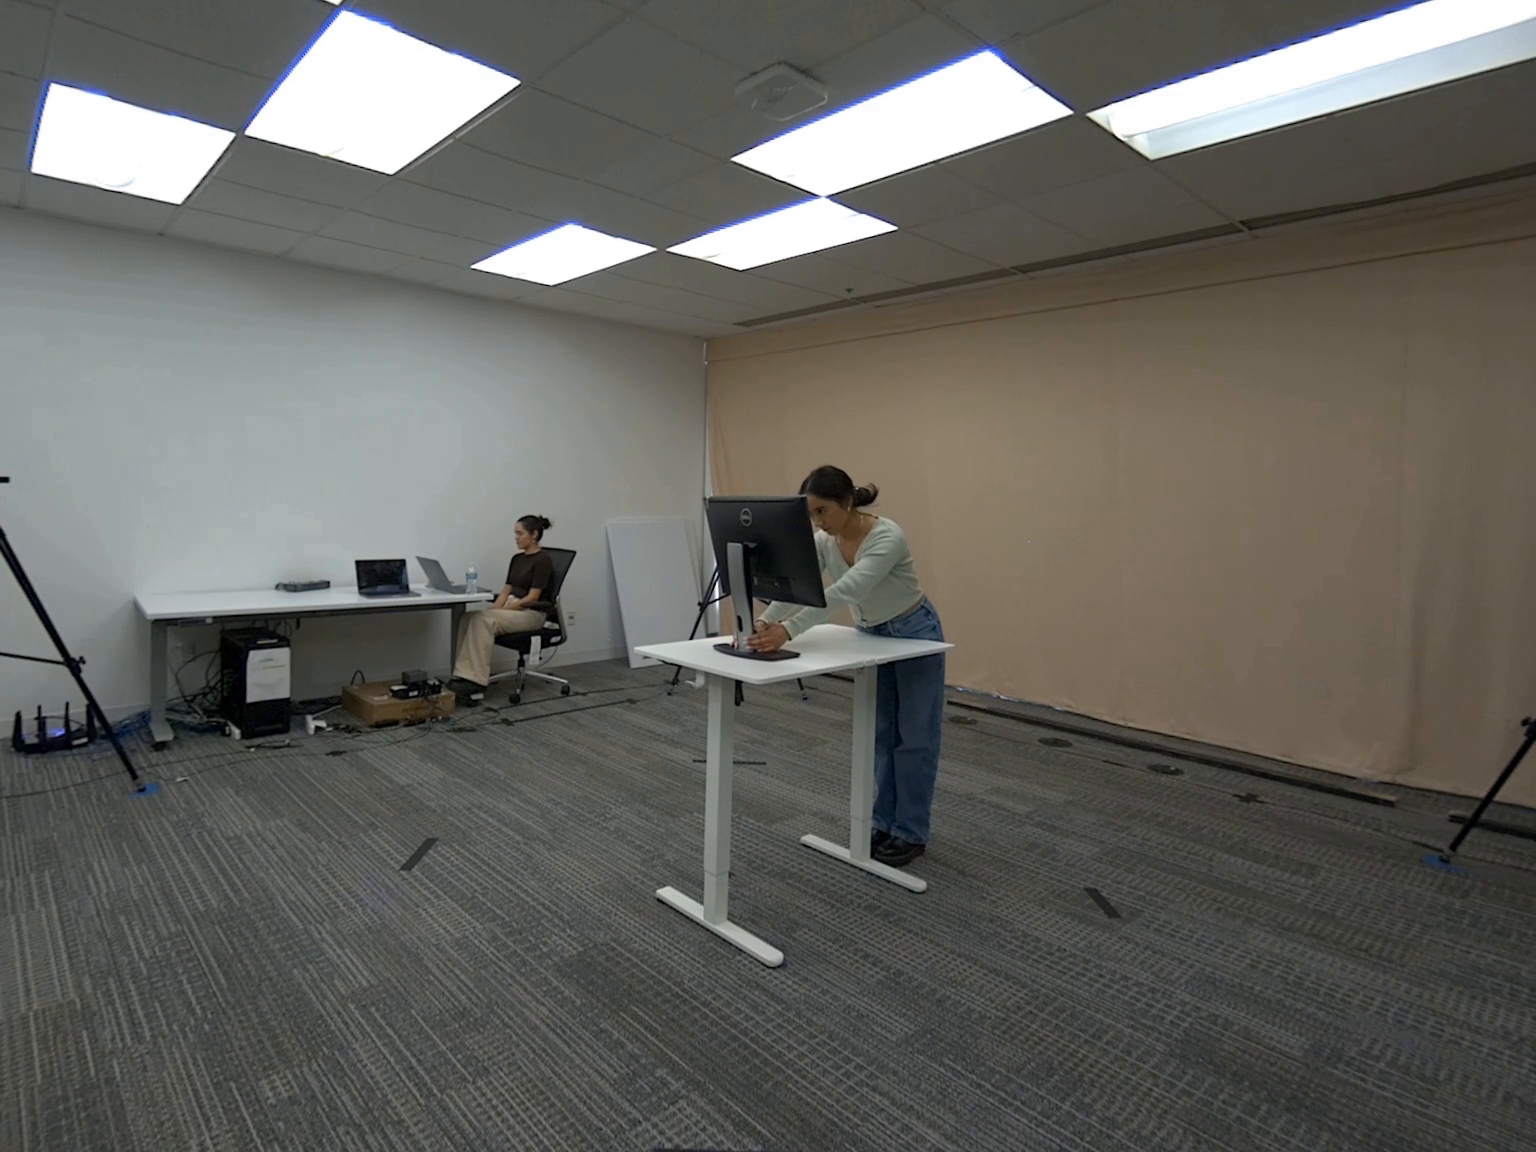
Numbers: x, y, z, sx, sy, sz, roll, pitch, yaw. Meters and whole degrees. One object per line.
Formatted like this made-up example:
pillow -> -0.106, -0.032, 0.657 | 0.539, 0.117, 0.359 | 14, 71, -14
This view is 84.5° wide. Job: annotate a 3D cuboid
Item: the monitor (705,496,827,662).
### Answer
monitor -> -0.055, 0.002, 2.727 | 0.183, 0.521, 0.552 | -3, 5, -39
